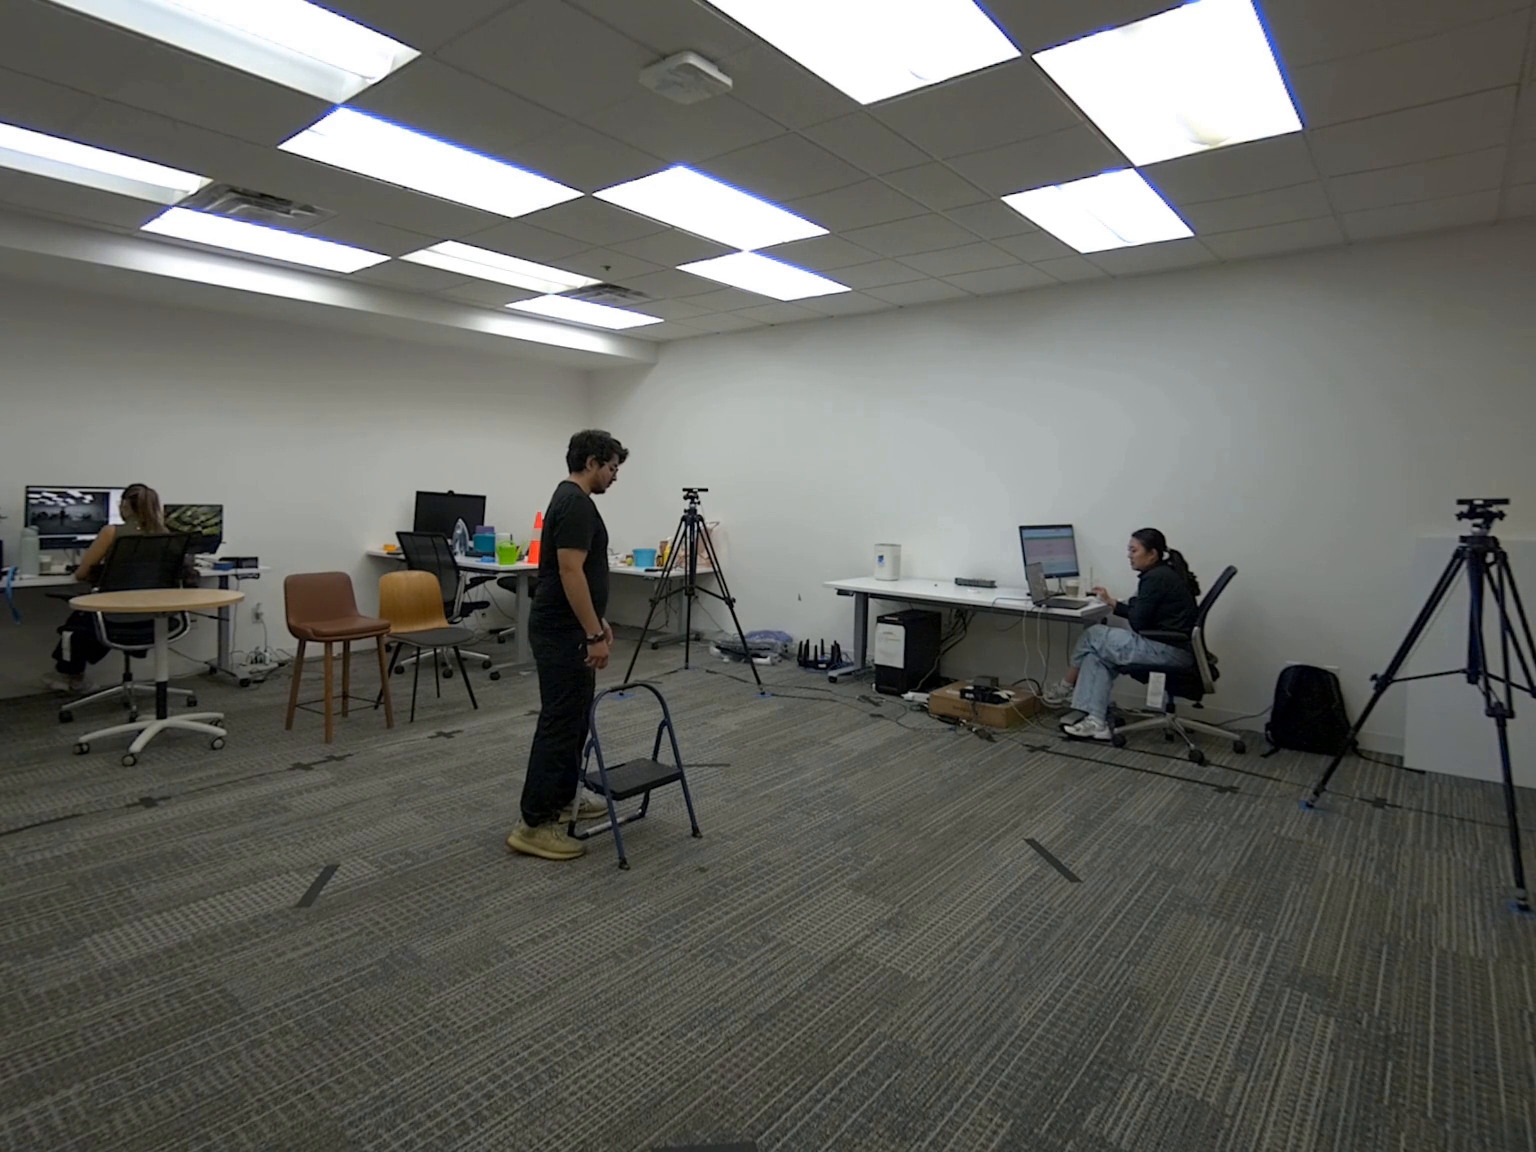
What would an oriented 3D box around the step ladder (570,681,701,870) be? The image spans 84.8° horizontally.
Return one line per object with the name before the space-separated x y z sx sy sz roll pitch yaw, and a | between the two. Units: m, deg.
step ladder | -0.532 0.738 3.347 0.361 0.604 0.418 3 4 39
